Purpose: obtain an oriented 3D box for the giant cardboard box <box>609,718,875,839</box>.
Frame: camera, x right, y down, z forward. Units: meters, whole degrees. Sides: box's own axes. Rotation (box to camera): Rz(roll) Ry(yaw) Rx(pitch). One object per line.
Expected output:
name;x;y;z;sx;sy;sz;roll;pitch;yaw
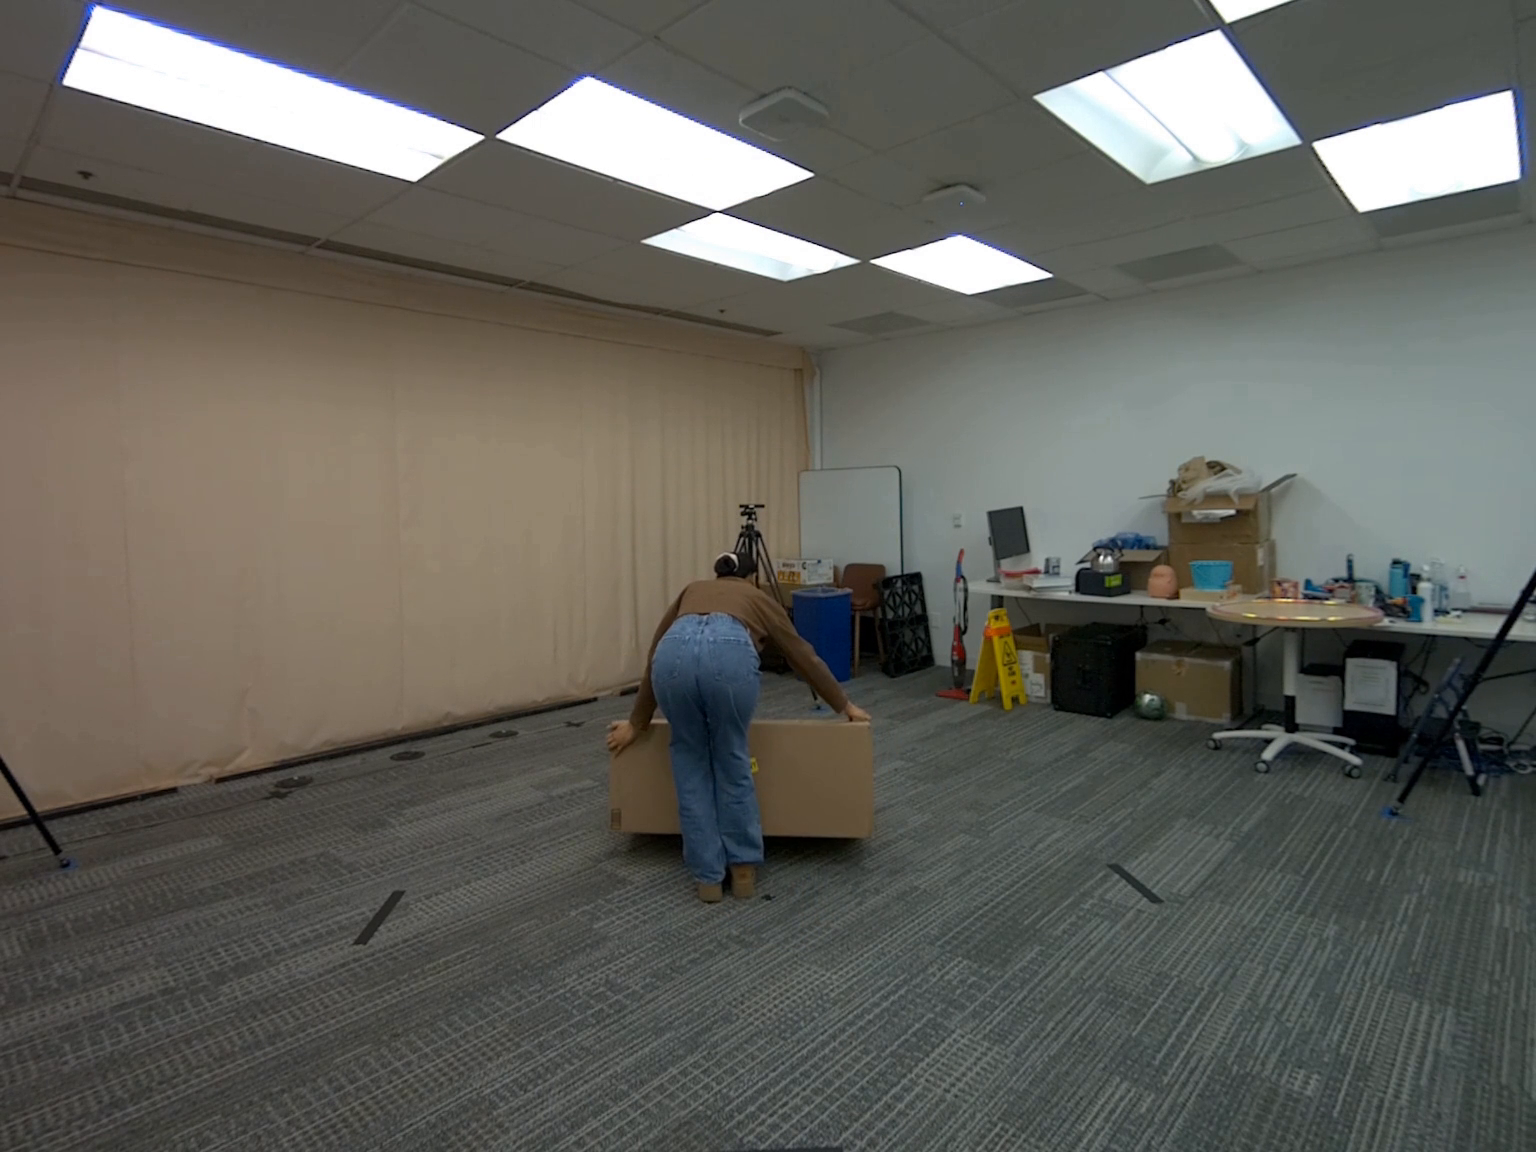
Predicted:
giant cardboard box;-0.097;0.816;3.532;1.032;0.428;0.571;0;-8;5
